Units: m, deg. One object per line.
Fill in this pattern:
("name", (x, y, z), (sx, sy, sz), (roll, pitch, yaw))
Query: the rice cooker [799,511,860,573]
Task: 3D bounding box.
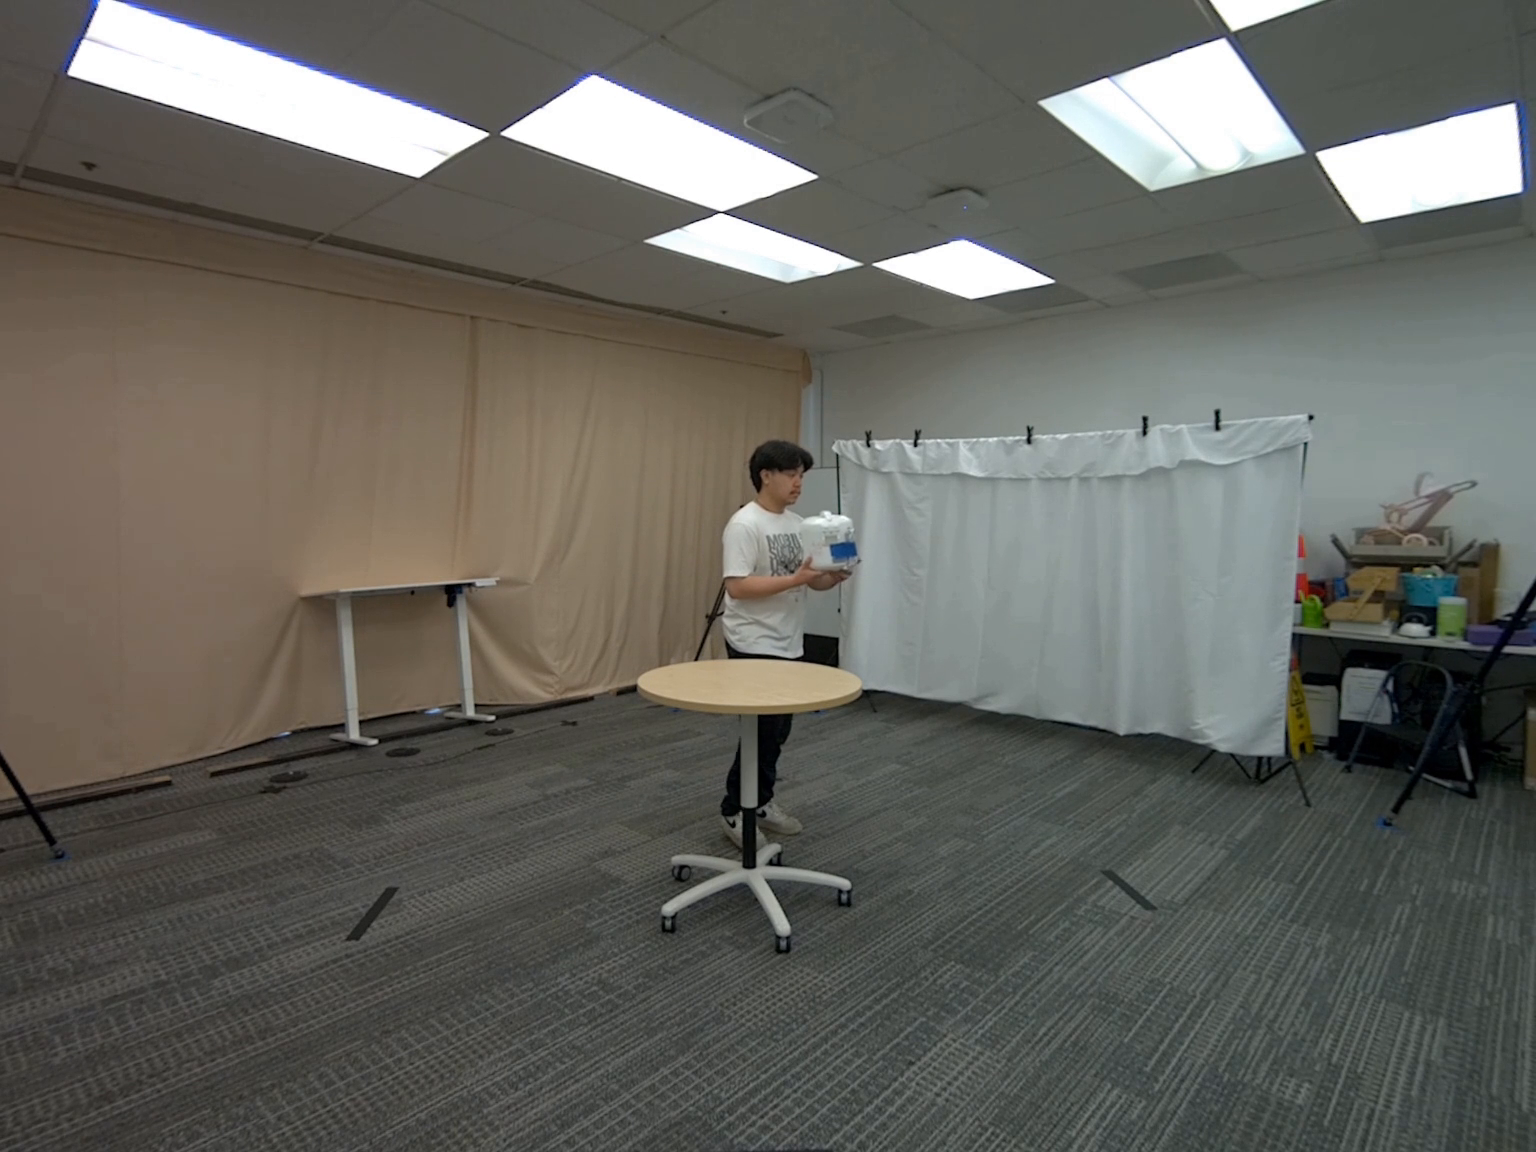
("rice cooker", (0.239, -0.142, 3.352), (0.217, 0.232, 0.222), (-2, 6, -3))
